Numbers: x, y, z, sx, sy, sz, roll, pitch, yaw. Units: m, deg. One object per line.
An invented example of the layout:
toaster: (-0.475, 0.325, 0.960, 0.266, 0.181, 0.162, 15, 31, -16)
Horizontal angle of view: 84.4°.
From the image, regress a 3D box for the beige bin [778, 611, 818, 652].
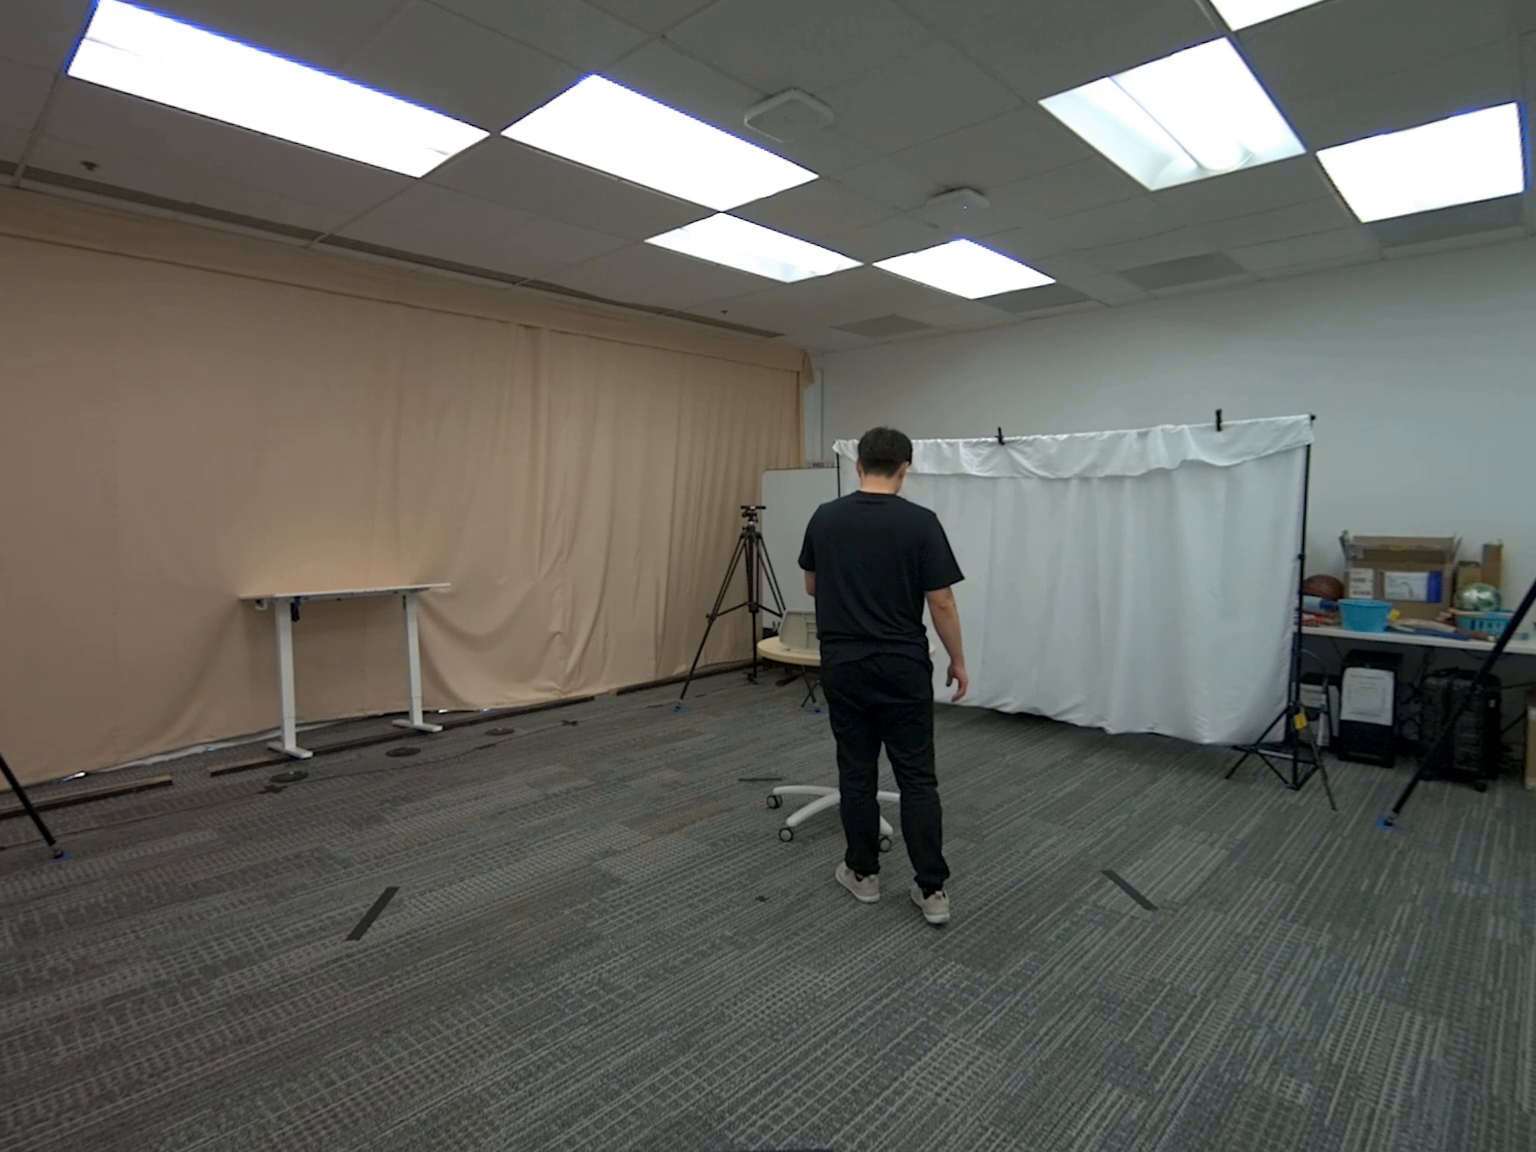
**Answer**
beige bin: (0.303, 0.216, 3.624, 0.387, 0.188, 0.412, 4, 5, 26)
